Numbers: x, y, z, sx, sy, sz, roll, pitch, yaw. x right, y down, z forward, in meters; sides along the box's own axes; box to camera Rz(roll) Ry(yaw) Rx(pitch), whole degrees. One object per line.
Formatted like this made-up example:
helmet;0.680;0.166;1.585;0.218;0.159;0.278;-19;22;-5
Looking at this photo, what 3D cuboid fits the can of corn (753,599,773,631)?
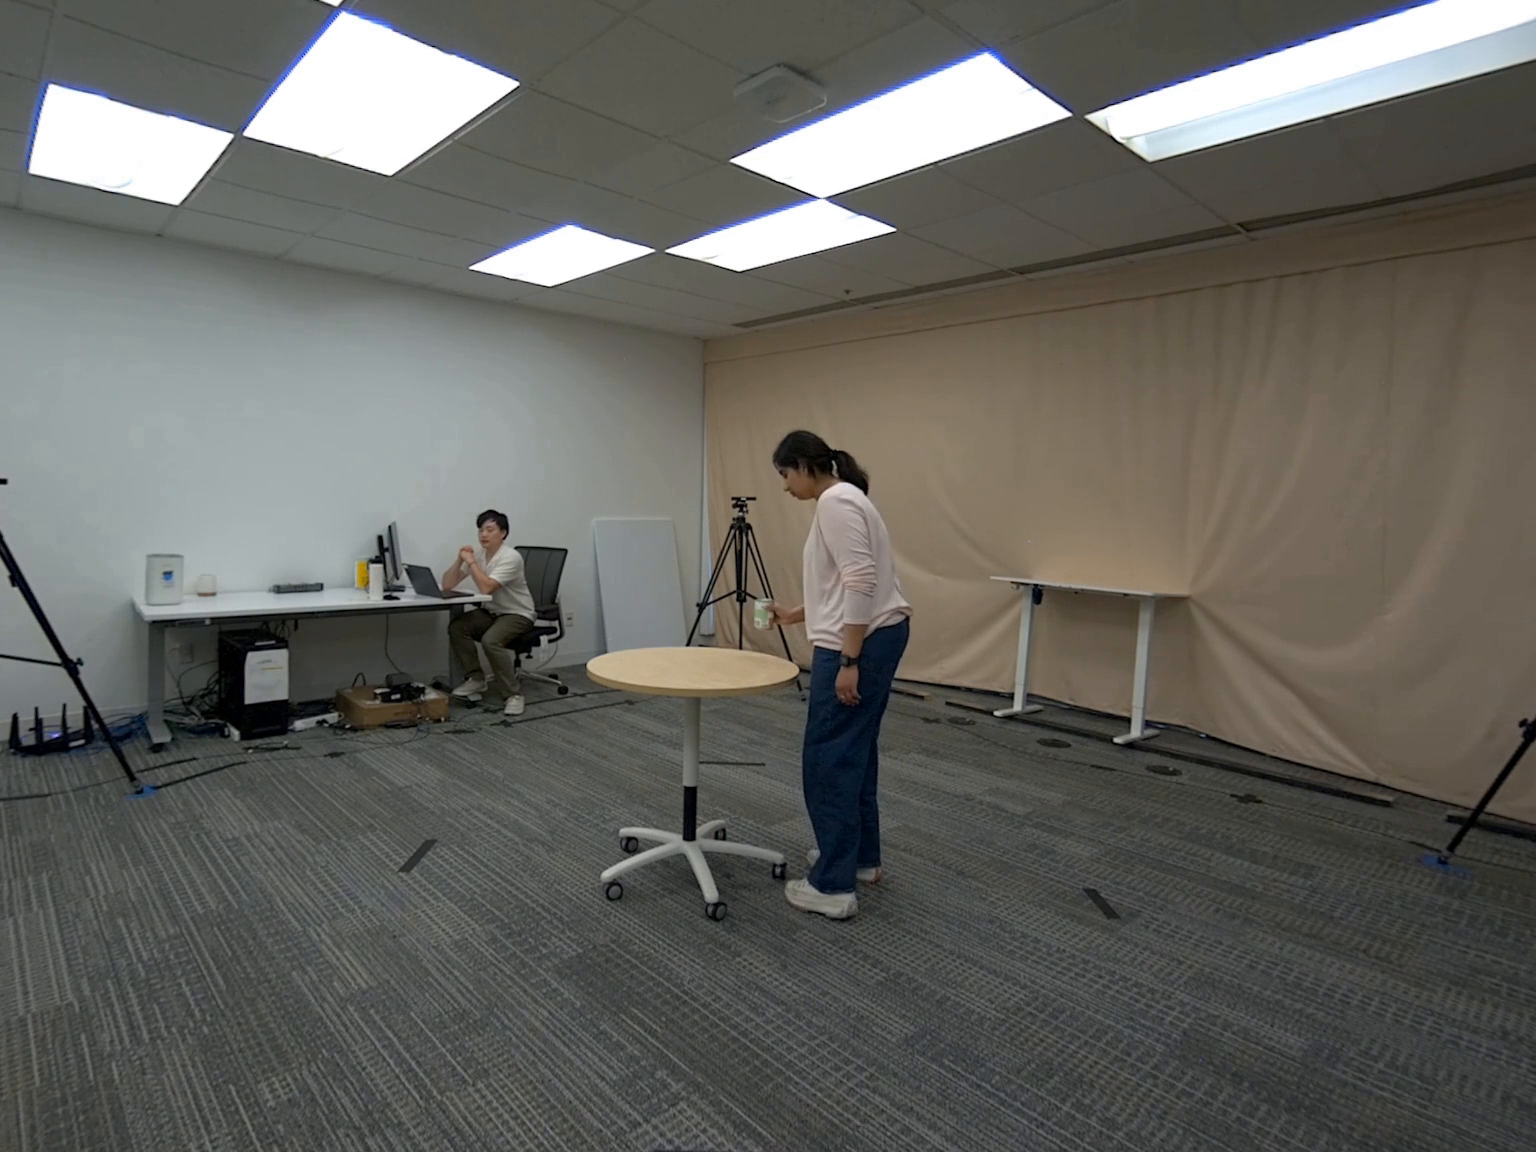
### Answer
can of corn;-0.022;0.147;3.225;0.074;0.111;0.074;1;5;-1
